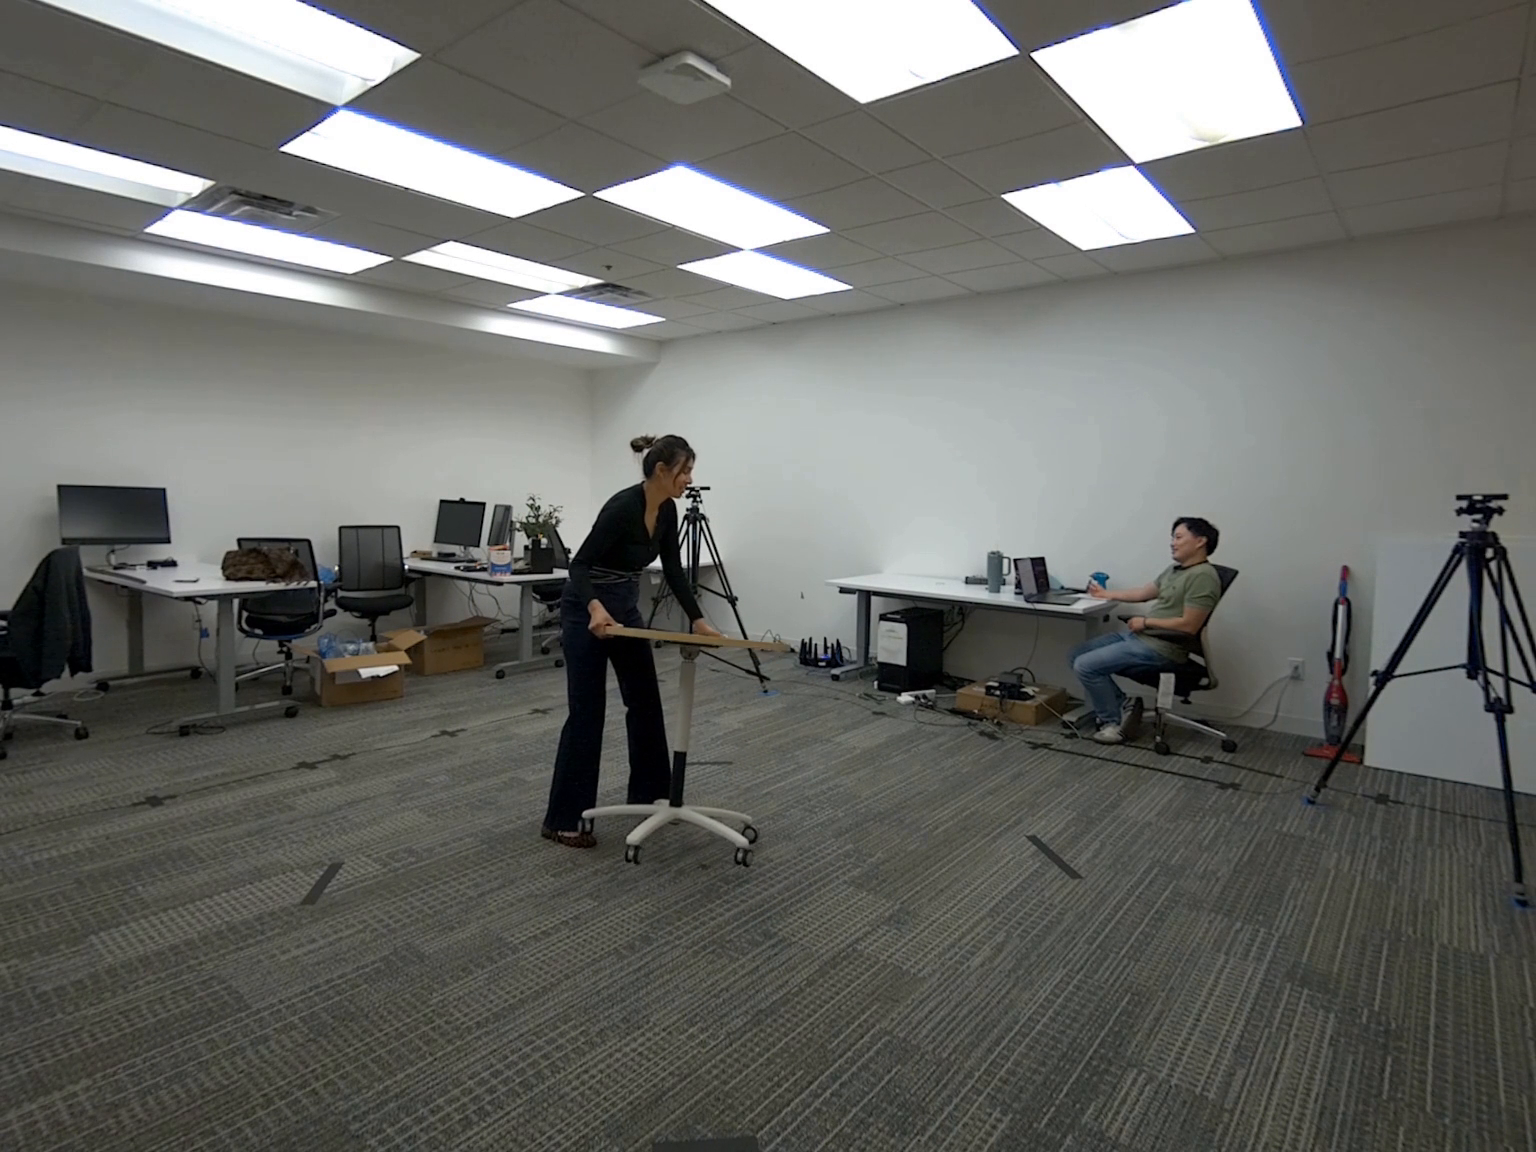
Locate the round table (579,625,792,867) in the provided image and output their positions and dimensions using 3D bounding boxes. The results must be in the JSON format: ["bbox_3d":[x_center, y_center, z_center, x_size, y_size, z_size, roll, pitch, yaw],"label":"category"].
[{"bbox_3d":[-0.339,0.620,3.229,0.764,0.798,0.761,5,-5,-1],"label":"round table"}]
